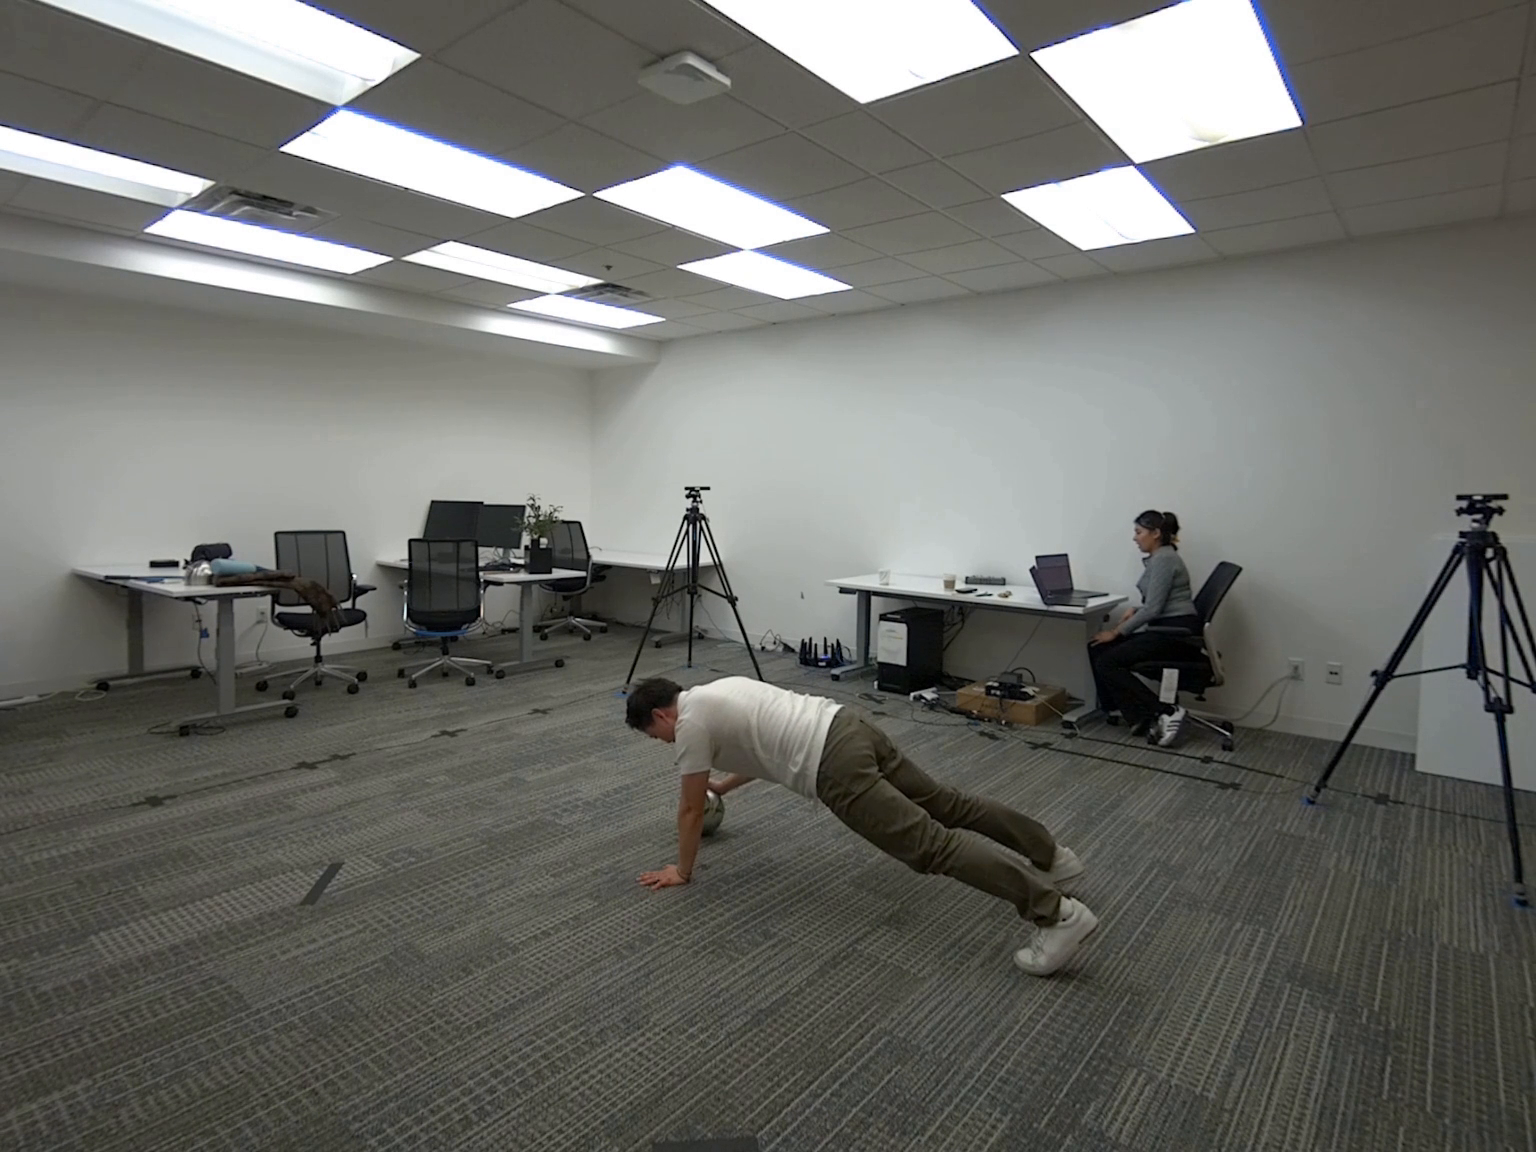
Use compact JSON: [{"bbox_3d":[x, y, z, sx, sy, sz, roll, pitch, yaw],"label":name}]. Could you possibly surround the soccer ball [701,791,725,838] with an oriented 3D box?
[{"bbox_3d":[-0.270,0.936,3.428,0.187,0.187,0.188,1,4,-2],"label":"soccer ball"}]
